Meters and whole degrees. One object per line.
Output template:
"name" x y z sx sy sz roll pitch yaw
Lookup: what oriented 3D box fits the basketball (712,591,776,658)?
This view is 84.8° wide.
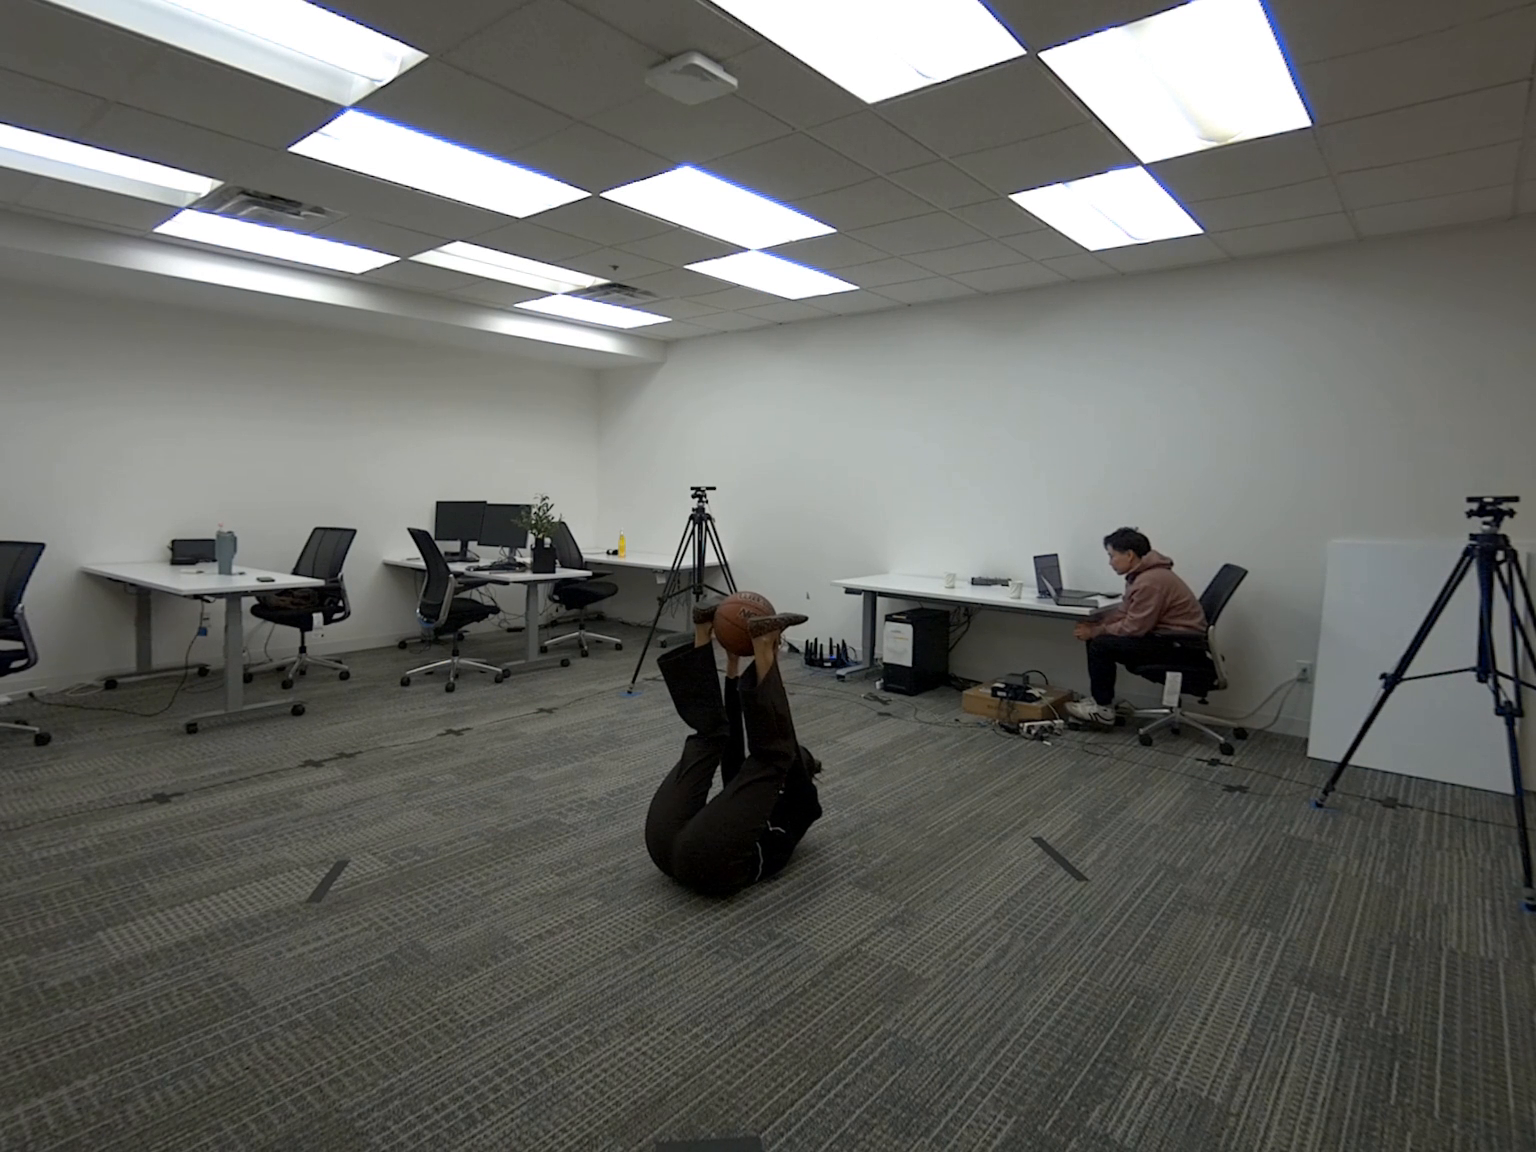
"basketball" -0.096 0.167 3.083 0.236 0.235 0.237 1 4 -2
